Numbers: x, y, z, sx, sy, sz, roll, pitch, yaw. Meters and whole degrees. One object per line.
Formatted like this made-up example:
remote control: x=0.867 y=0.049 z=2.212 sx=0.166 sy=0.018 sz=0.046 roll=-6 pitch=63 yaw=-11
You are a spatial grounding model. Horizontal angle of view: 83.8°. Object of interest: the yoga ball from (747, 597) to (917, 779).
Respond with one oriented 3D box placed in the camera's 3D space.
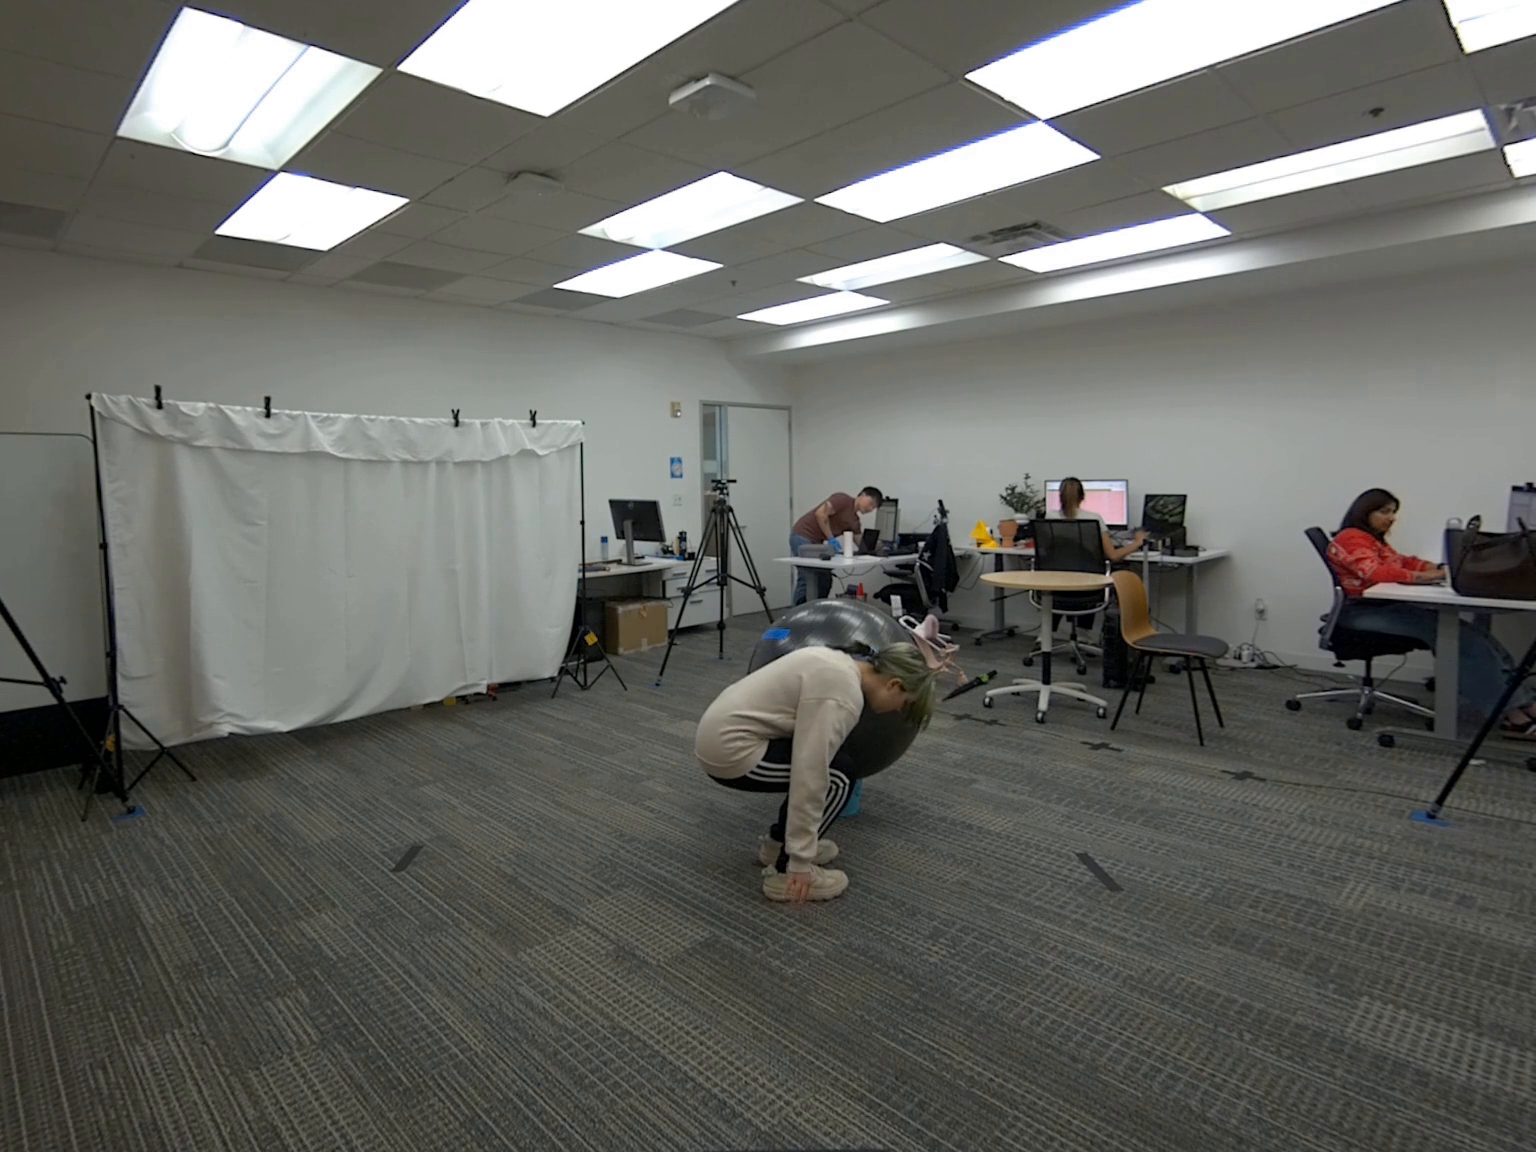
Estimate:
yoga ball: x=0.293 y=0.480 z=3.611 sx=0.757 sy=0.755 sz=0.762 roll=-1 pitch=5 yaw=-2
